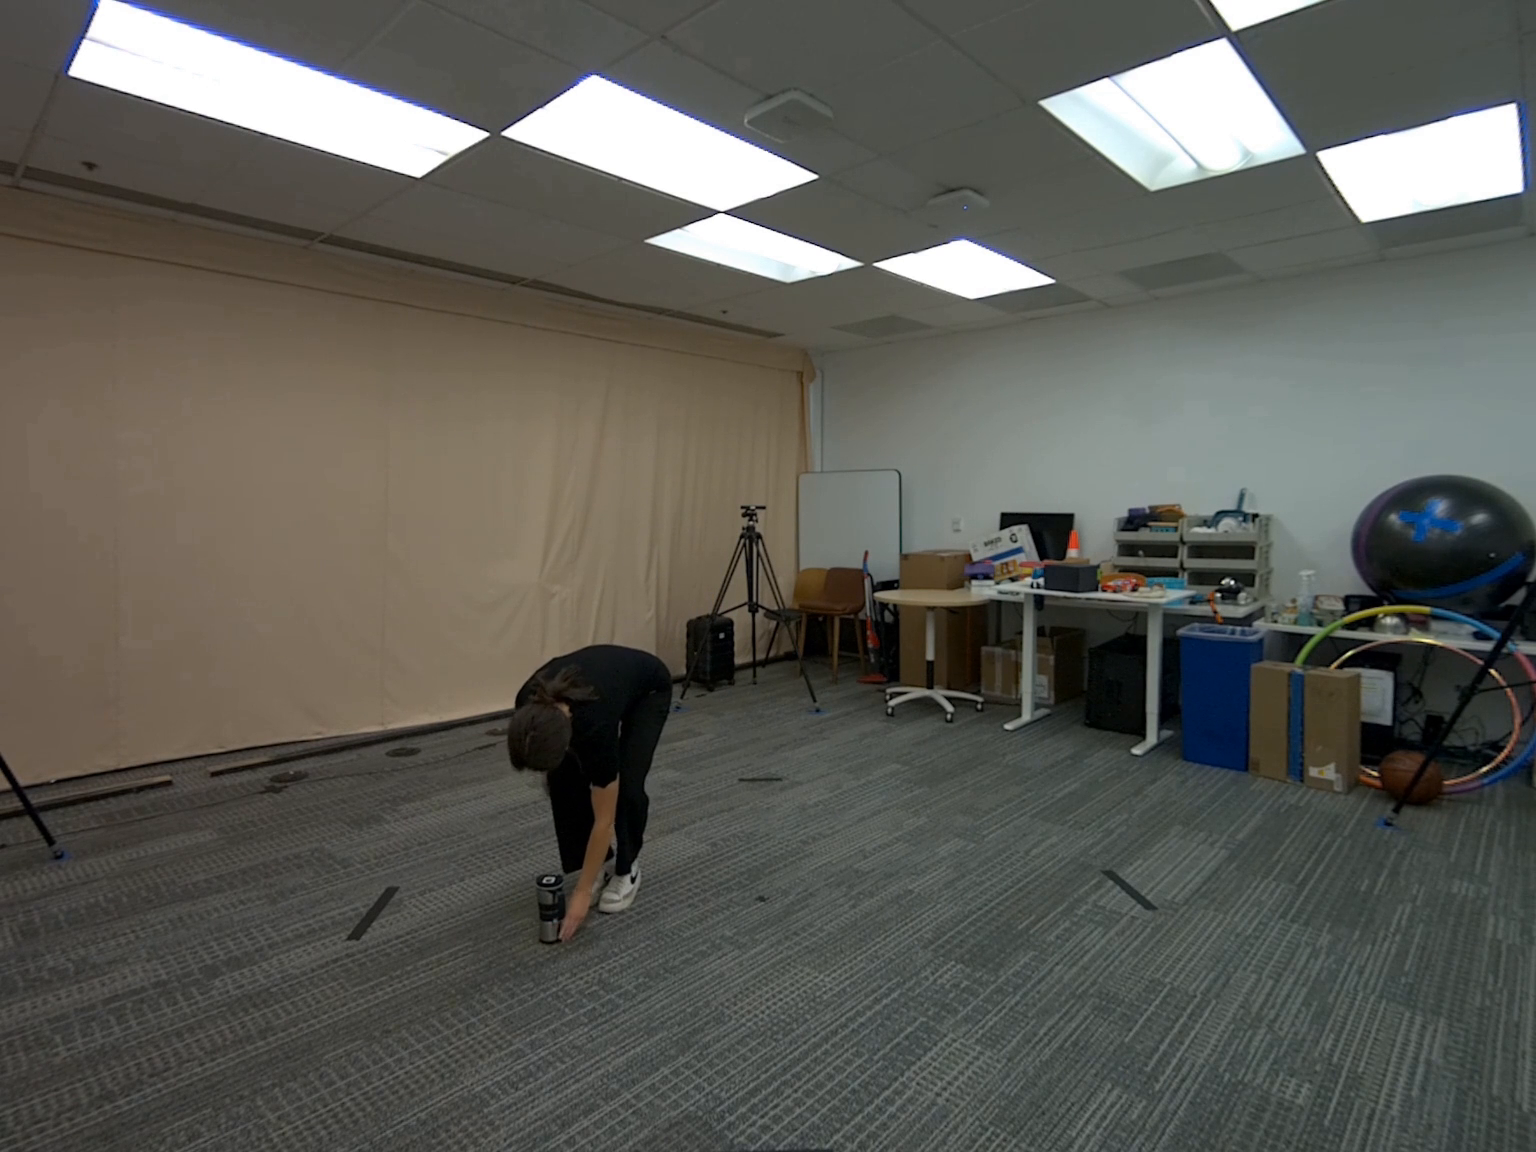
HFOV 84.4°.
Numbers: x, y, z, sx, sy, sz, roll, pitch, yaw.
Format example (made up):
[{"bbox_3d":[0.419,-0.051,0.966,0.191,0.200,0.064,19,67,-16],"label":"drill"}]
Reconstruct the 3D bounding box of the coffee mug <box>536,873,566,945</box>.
[{"bbox_3d":[-0.695,1.077,2.689,0.086,0.203,0.124,2,1,-15],"label":"coffee mug"}]
